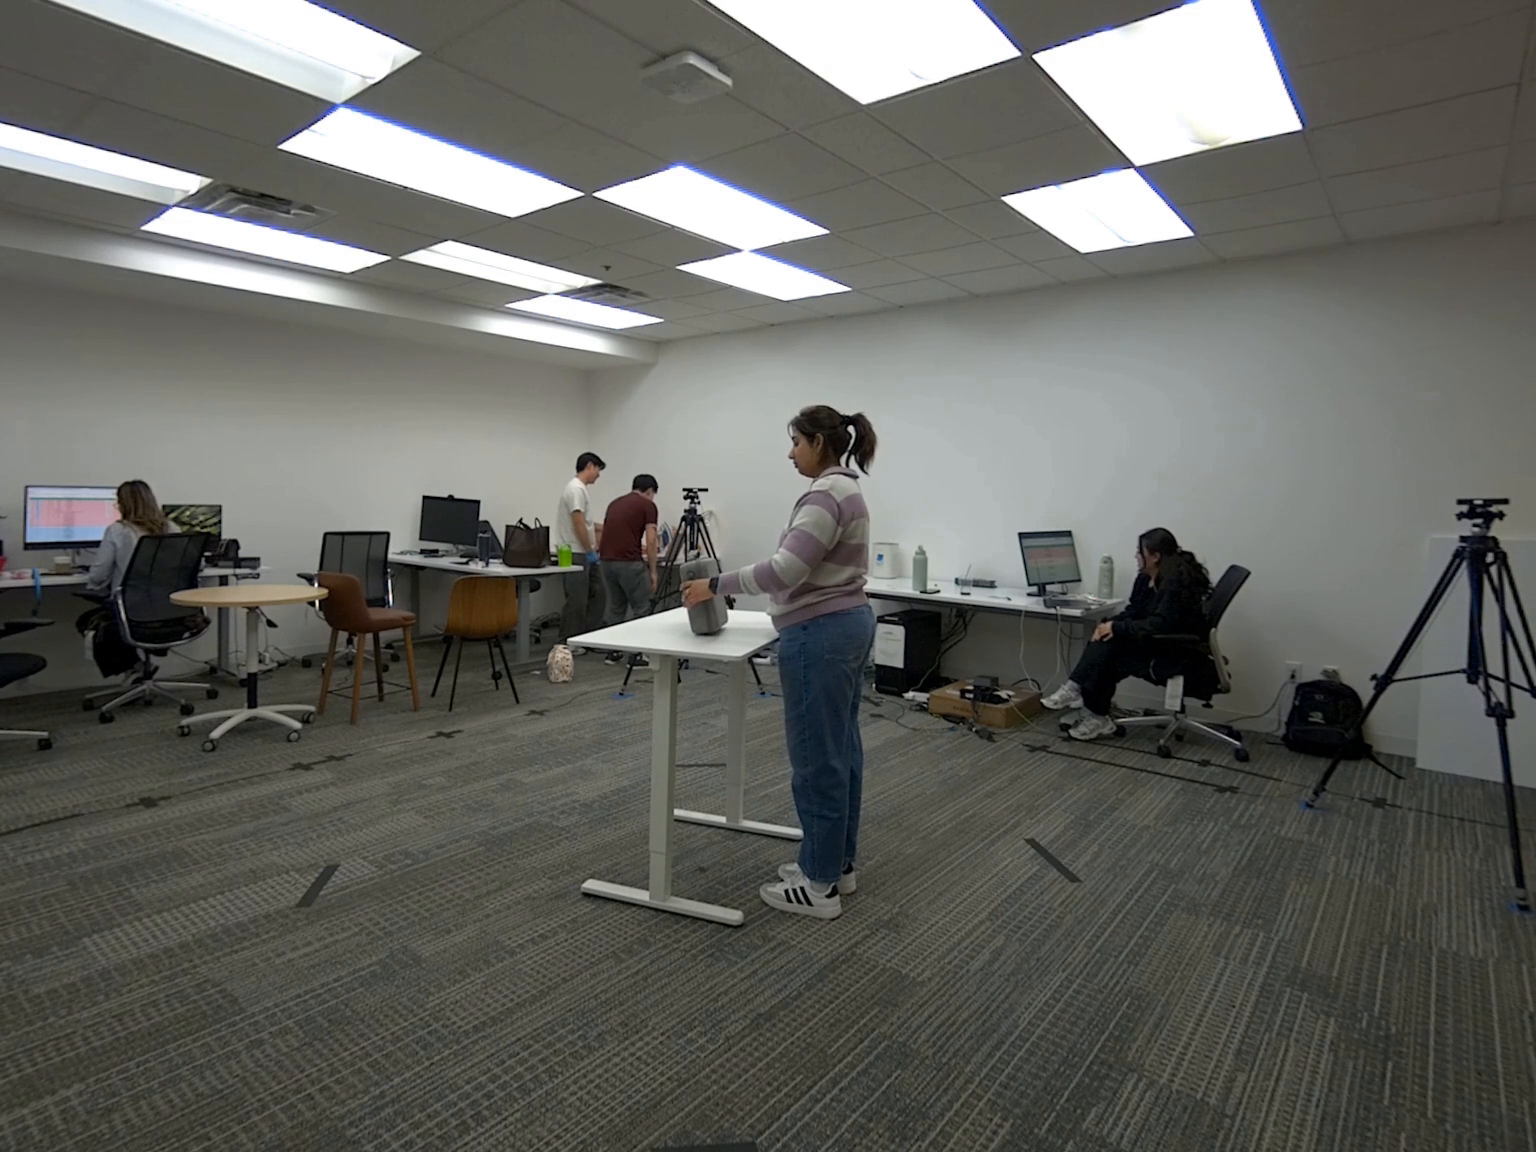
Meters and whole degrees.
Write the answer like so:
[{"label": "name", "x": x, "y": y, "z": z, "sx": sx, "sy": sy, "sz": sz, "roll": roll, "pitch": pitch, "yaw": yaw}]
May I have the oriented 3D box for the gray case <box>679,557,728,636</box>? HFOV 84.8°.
[{"label": "gray case", "x": -0.238, "y": 0.059, "z": 3.025, "sx": 0.105, "sy": 0.261, "sz": 0.255, "roll": -12, "pitch": 0, "yaw": 7}]
